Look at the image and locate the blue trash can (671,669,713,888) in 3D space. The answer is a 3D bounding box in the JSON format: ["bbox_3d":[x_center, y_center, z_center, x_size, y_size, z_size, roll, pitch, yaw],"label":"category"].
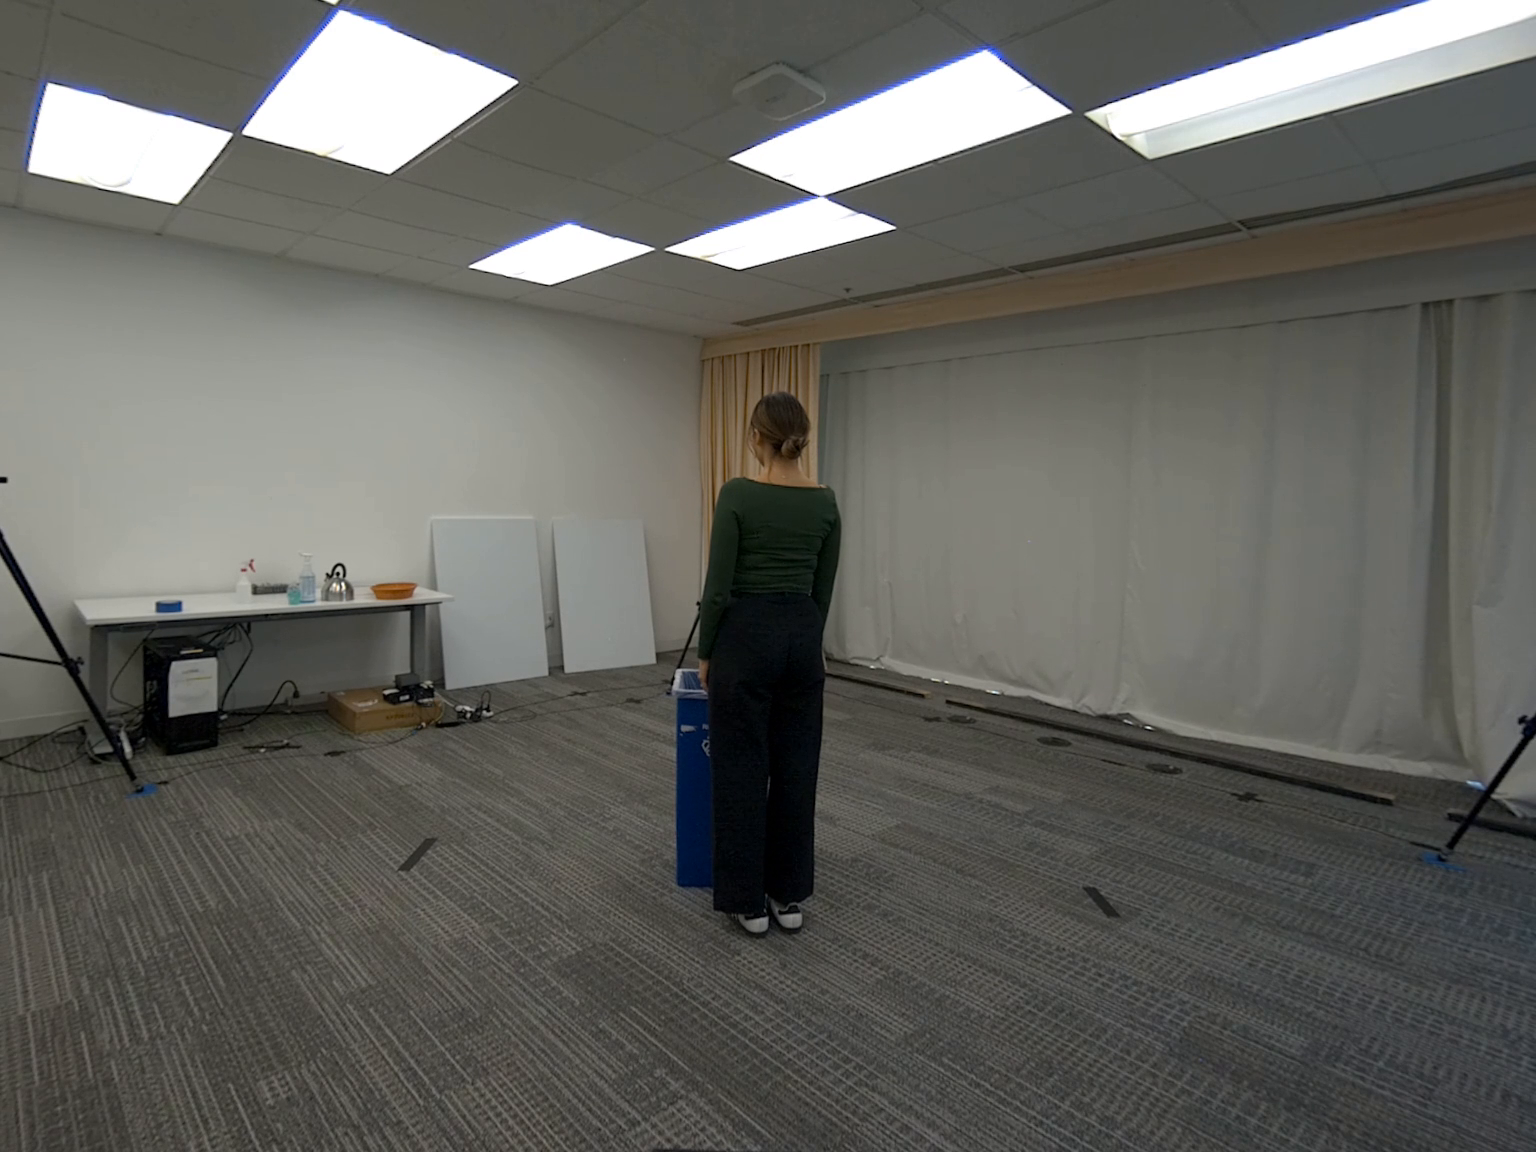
[{"bbox_3d":[-0.184,0.741,3.131,0.377,0.711,0.376,2,4,-3],"label":"blue trash can"}]
